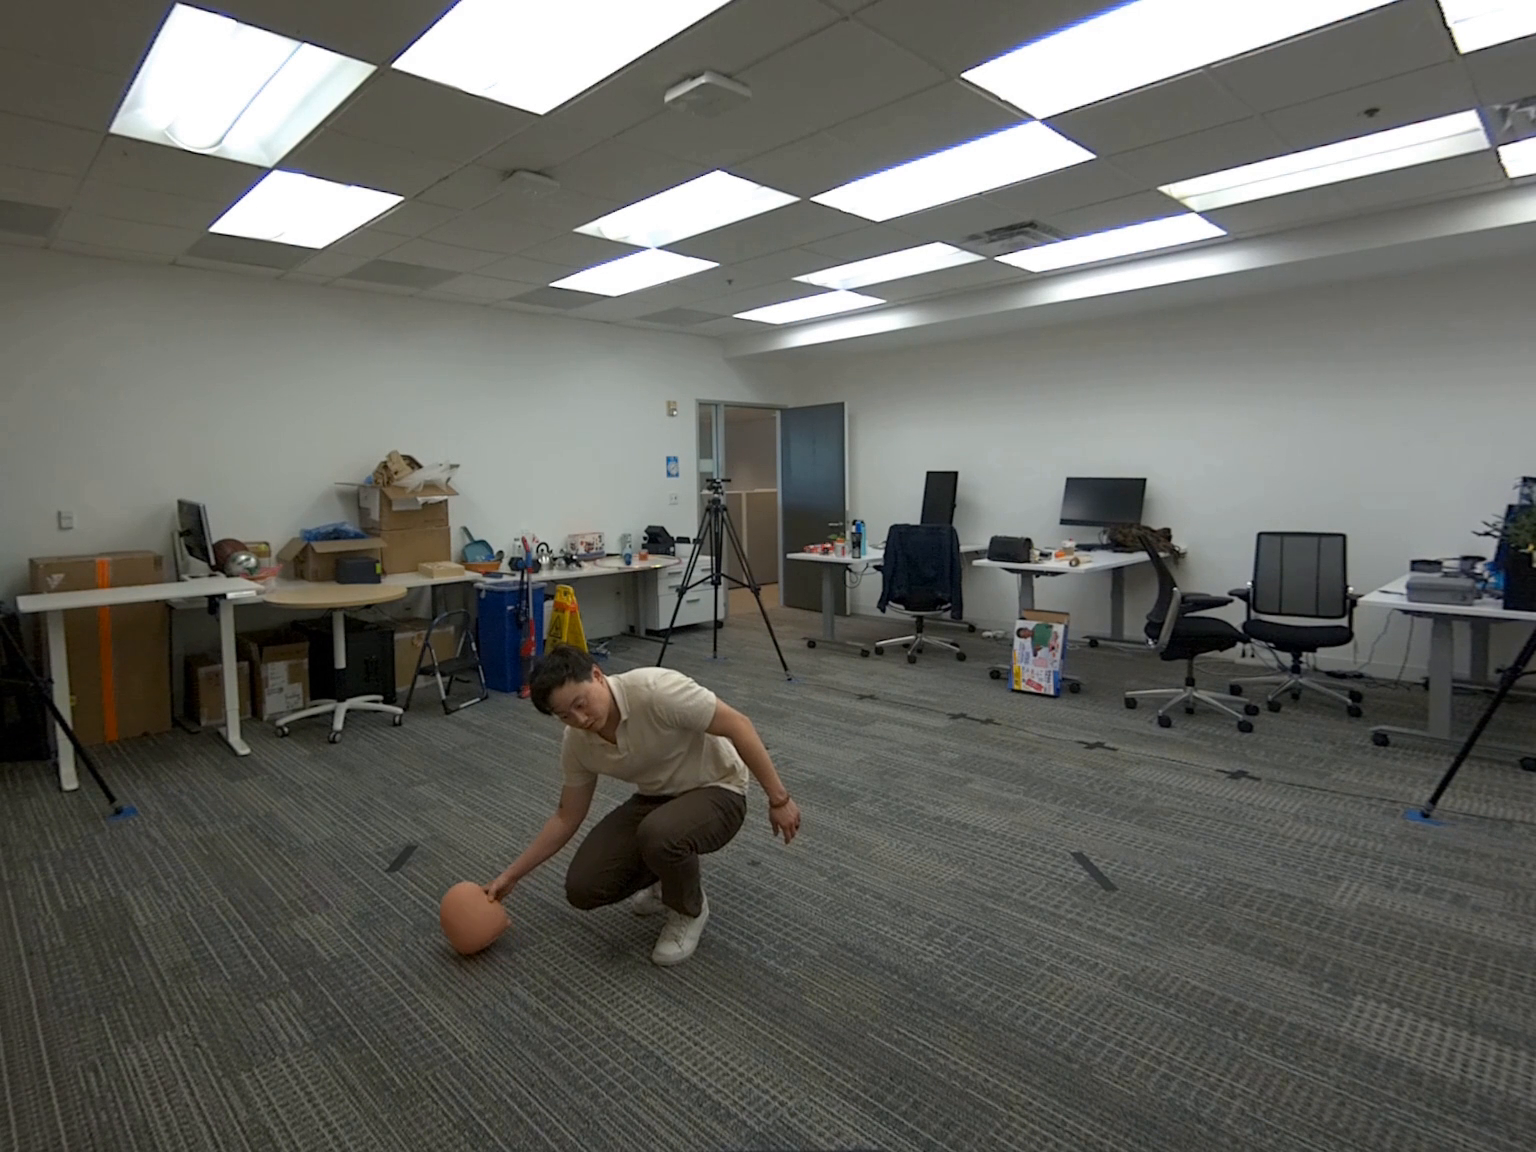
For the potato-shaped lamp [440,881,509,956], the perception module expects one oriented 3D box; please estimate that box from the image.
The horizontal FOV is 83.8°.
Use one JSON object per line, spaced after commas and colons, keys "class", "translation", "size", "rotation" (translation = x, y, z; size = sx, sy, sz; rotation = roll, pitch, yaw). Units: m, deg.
{"class": "potato-shaped lamp", "translation": [-0.882, 1.021, 2.551], "size": [0.164, 0.201, 0.169], "rotation": [-26, -12, -8]}
